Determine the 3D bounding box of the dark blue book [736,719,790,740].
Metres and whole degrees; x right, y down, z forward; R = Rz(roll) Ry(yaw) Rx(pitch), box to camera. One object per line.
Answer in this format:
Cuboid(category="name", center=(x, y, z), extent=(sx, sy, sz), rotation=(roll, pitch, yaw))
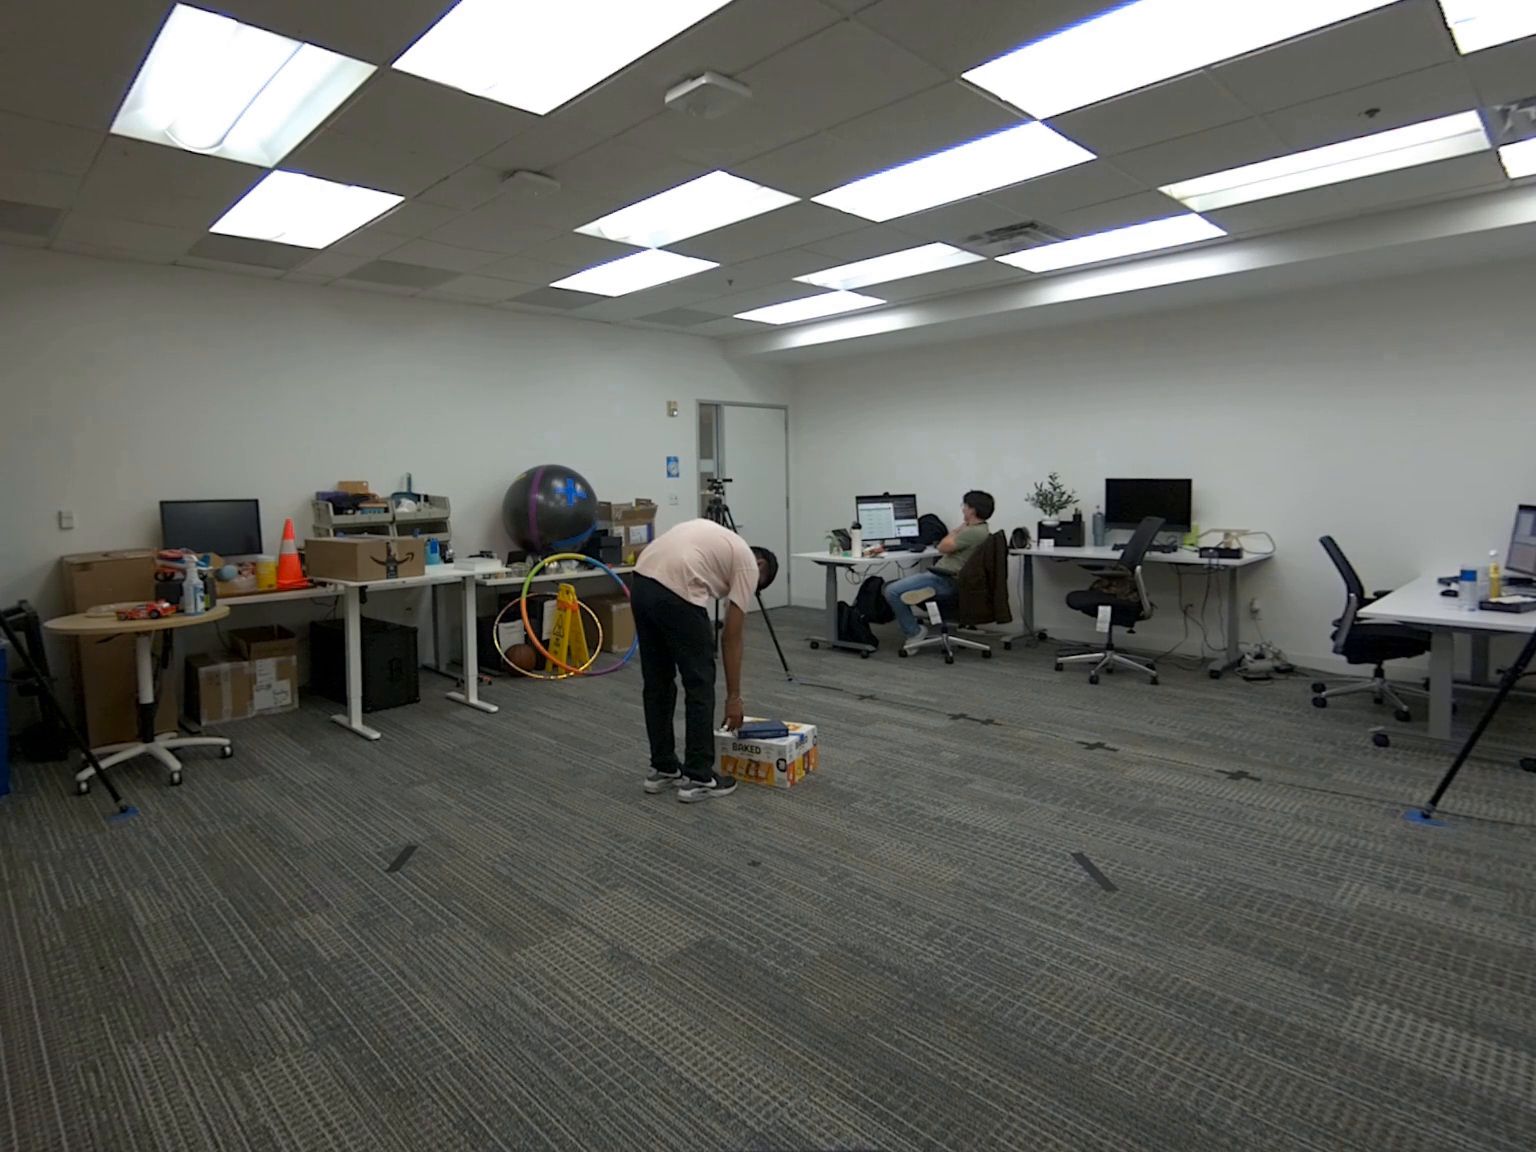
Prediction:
Cuboid(category="dark blue book", center=(-0.036, 0.725, 4.040), extent=(0.242, 0.045, 0.165), rotation=(-2, 4, -12))
